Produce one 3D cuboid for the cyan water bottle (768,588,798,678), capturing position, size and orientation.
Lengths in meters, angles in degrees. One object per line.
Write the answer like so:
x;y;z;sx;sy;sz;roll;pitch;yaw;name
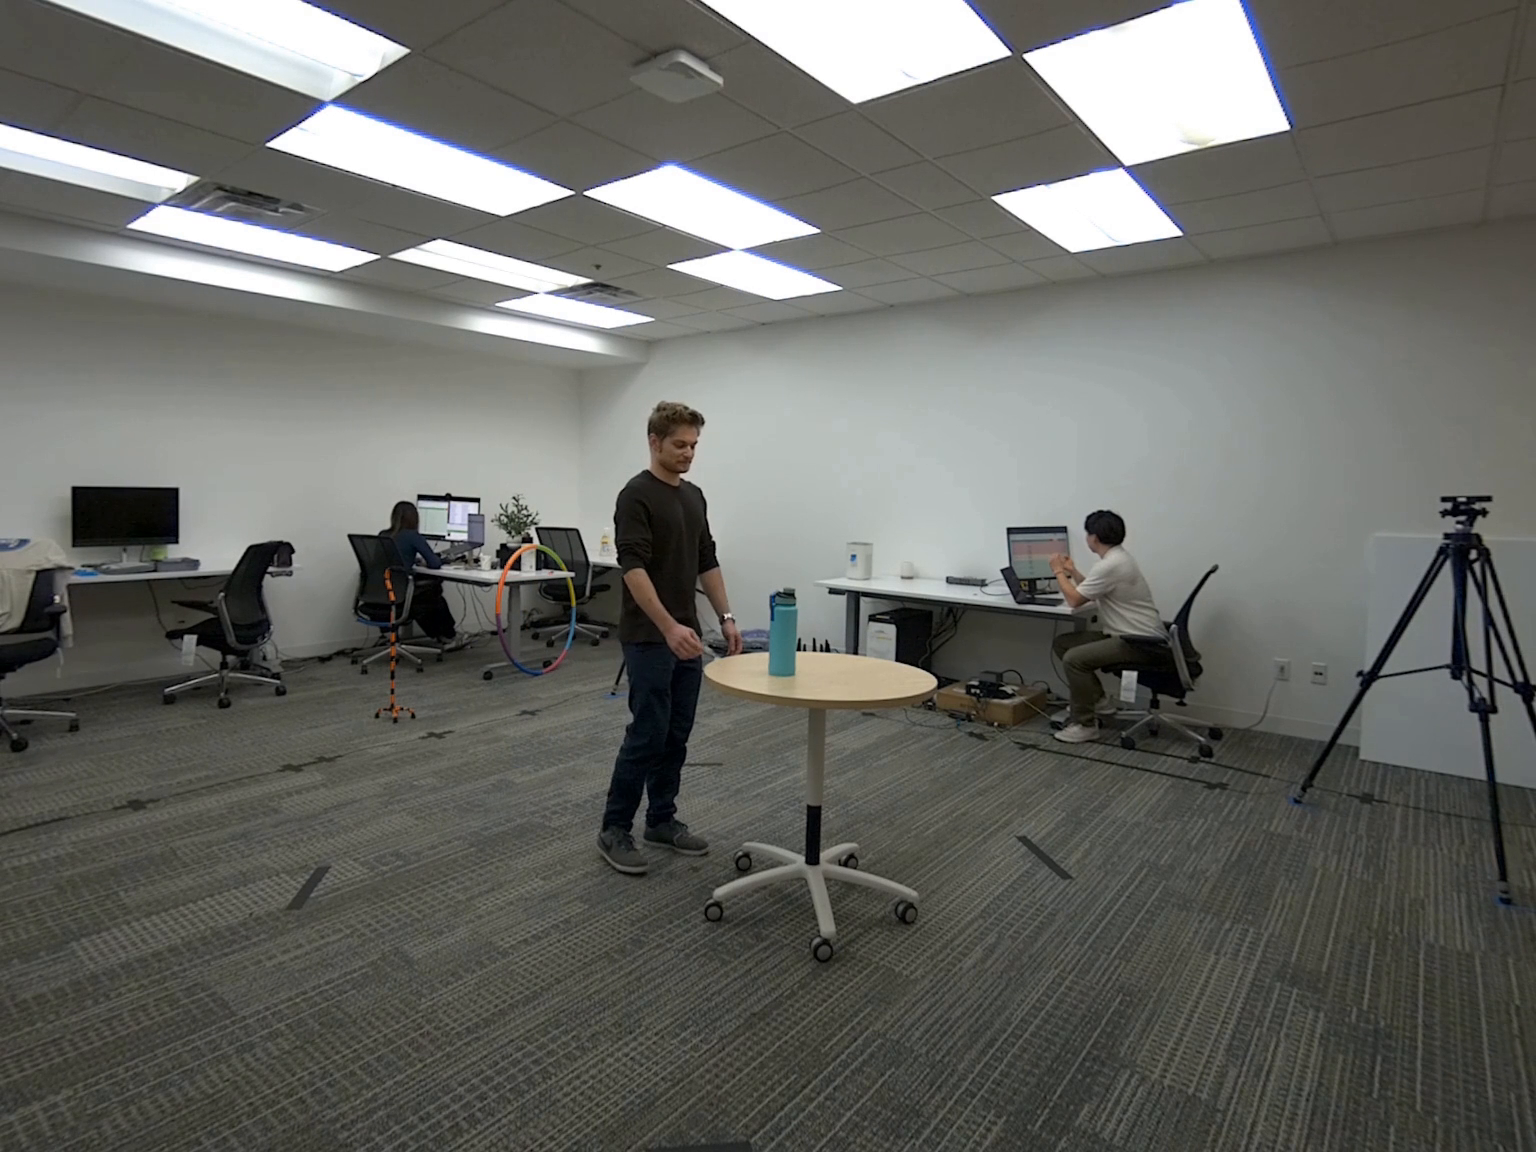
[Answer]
0.041;0.180;2.789;0.092;0.282;0.093;0;3;-2;cyan water bottle
